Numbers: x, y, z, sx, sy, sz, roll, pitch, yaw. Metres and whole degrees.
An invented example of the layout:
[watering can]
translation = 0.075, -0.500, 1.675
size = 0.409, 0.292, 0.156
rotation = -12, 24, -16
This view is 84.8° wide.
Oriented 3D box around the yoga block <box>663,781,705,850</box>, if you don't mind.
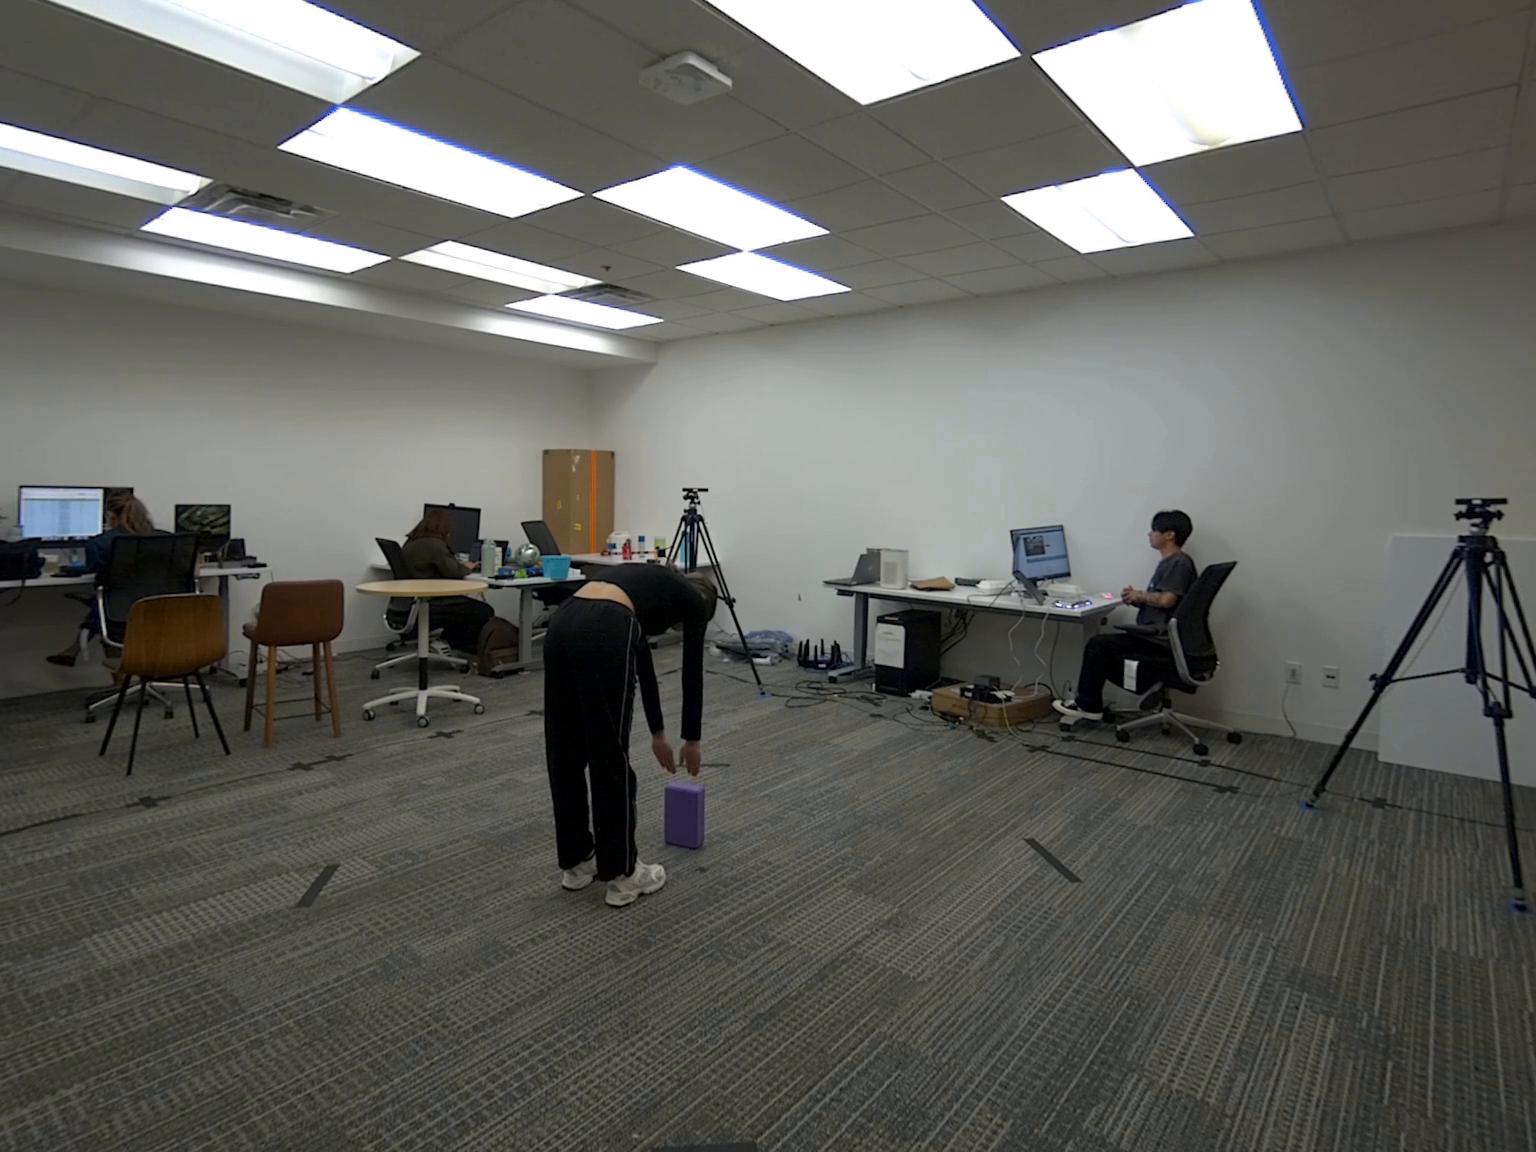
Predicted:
[yoga block]
translation = -0.340, 0.931, 3.331
size = 0.152, 0.229, 0.075
rotation = 1, 3, 23
